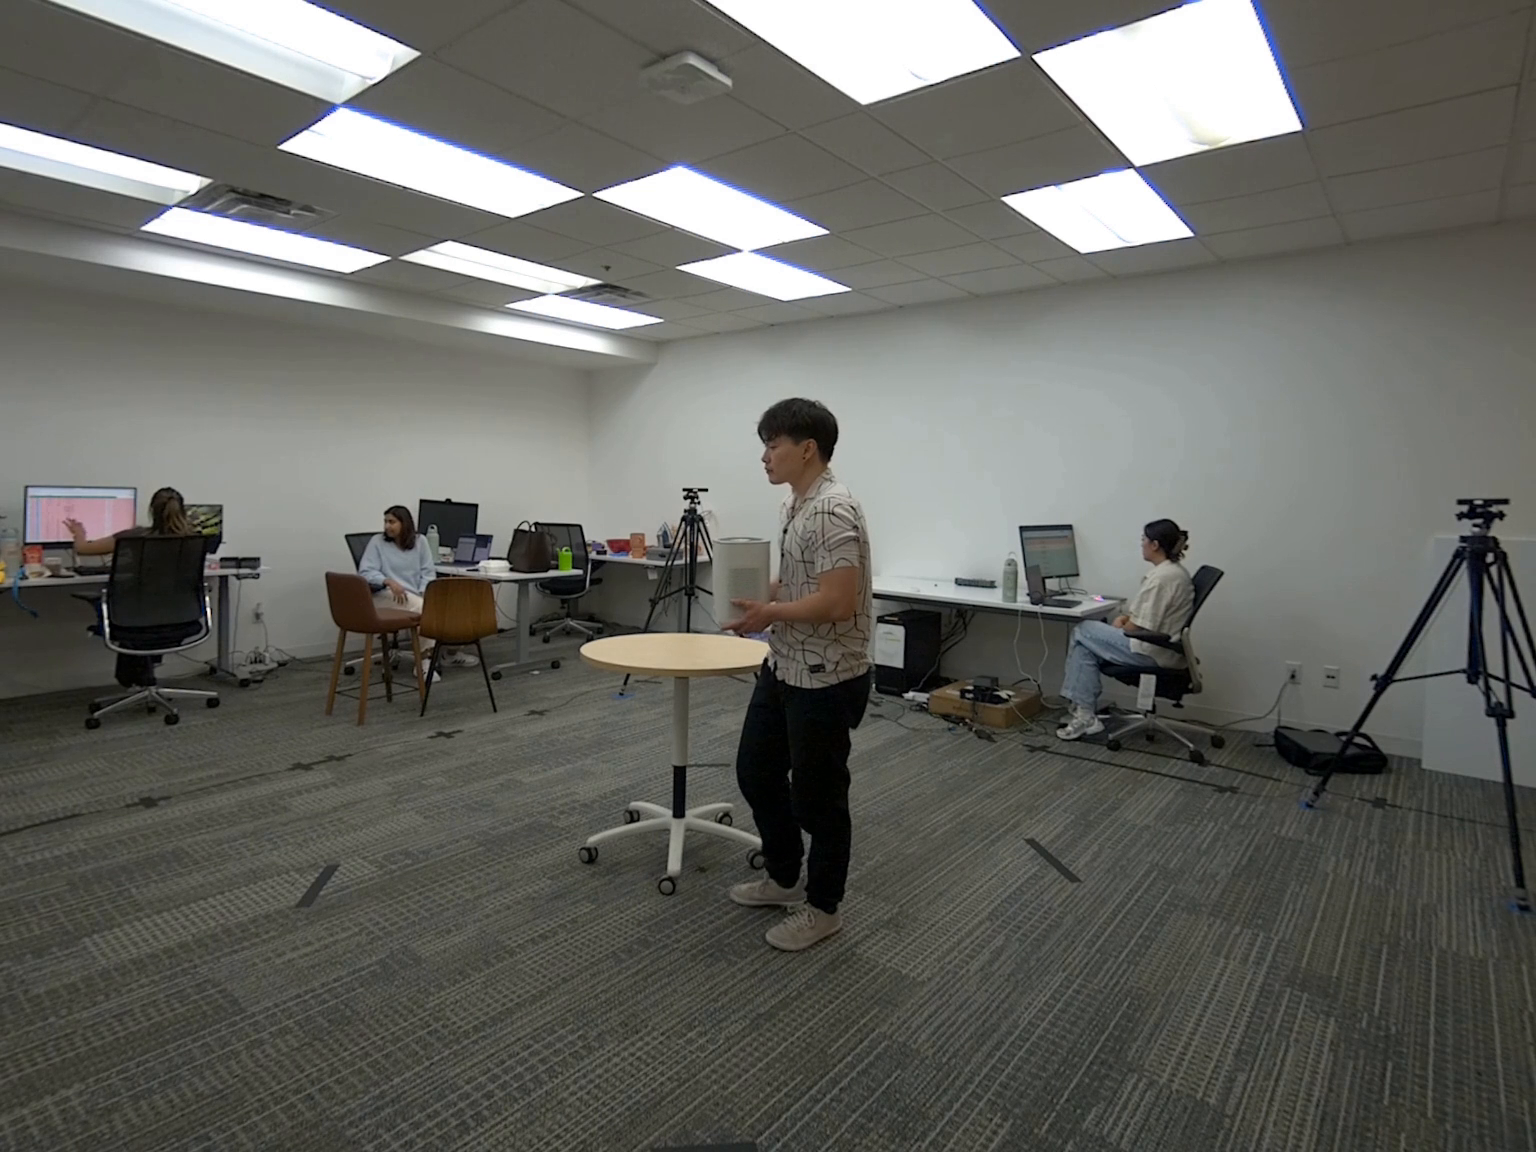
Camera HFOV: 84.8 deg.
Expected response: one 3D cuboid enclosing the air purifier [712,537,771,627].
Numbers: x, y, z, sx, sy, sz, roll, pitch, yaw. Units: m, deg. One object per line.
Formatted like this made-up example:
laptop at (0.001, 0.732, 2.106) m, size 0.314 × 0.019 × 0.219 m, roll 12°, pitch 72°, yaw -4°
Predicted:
air purifier at (-0.094, 0.019, 2.613) m, size 0.170 × 0.264 × 0.174 m, roll -1°, pitch 7°, yaw -9°
